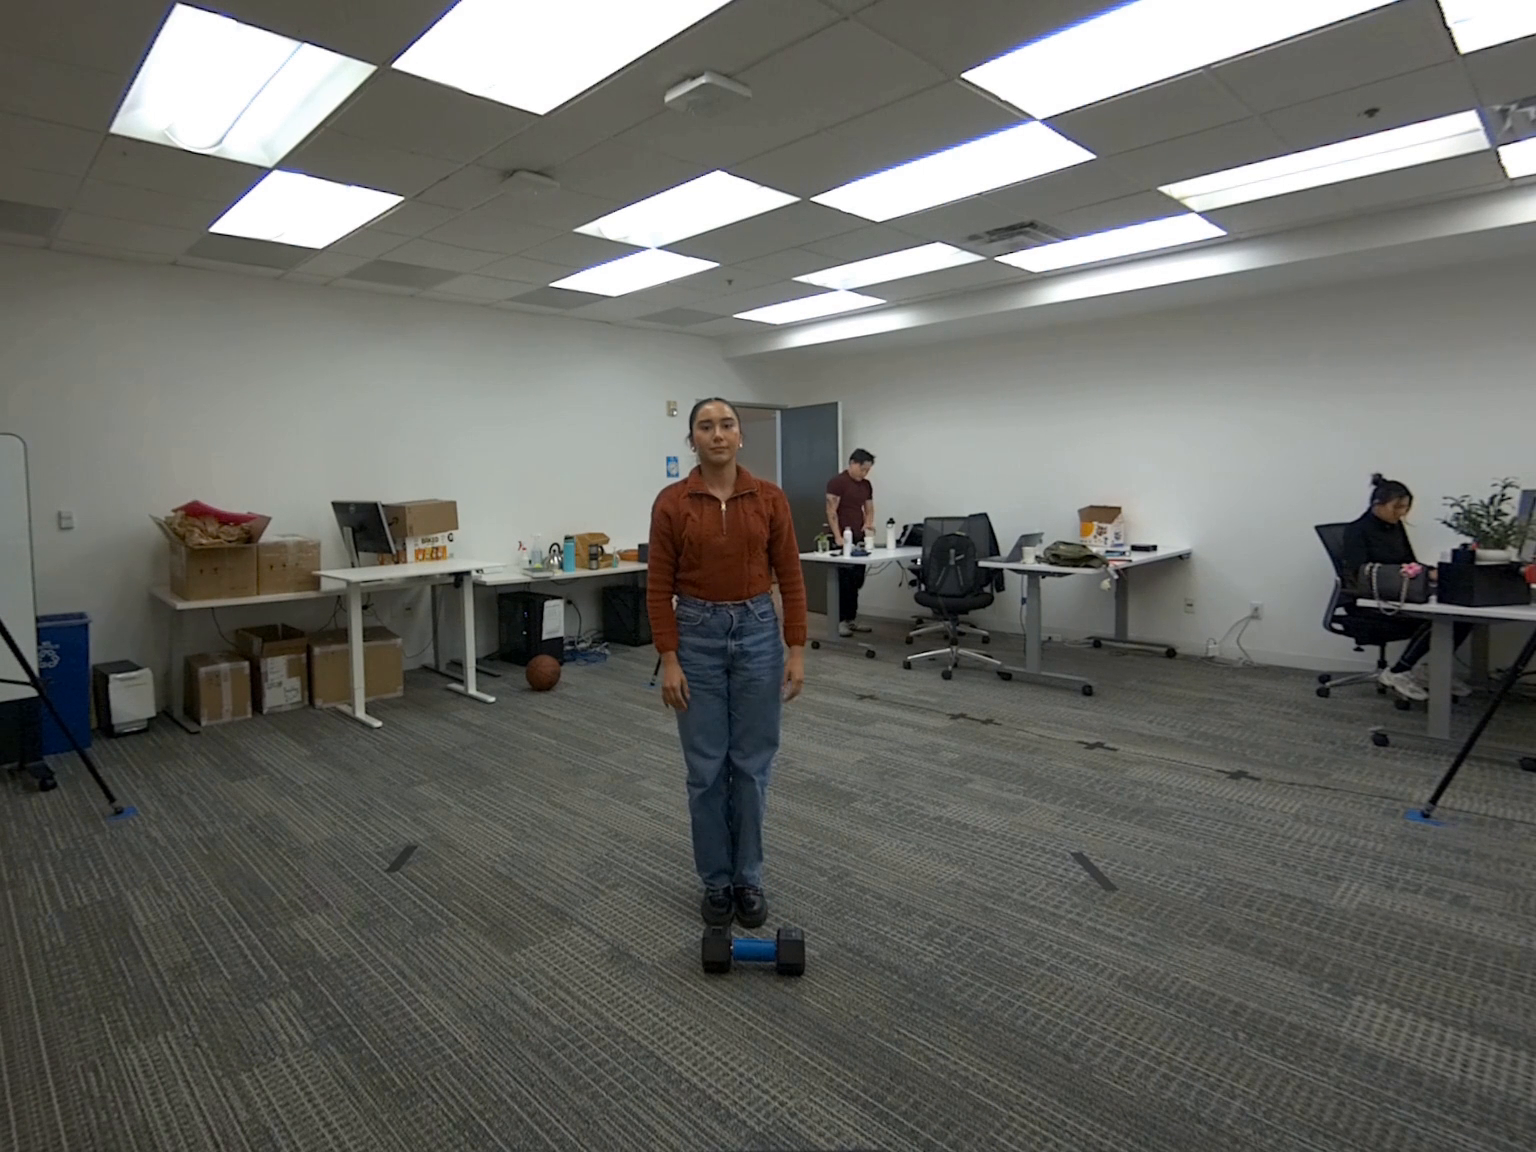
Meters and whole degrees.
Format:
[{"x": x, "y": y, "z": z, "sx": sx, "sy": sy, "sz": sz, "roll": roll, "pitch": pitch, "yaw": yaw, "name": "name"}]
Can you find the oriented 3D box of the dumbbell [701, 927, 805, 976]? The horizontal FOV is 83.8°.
[{"x": -0.041, "y": 1.073, "z": 2.440, "sx": 0.295, "sy": 0.125, "sz": 0.106, "roll": -1, "pitch": -26, "yaw": 5, "name": "dumbbell"}]
